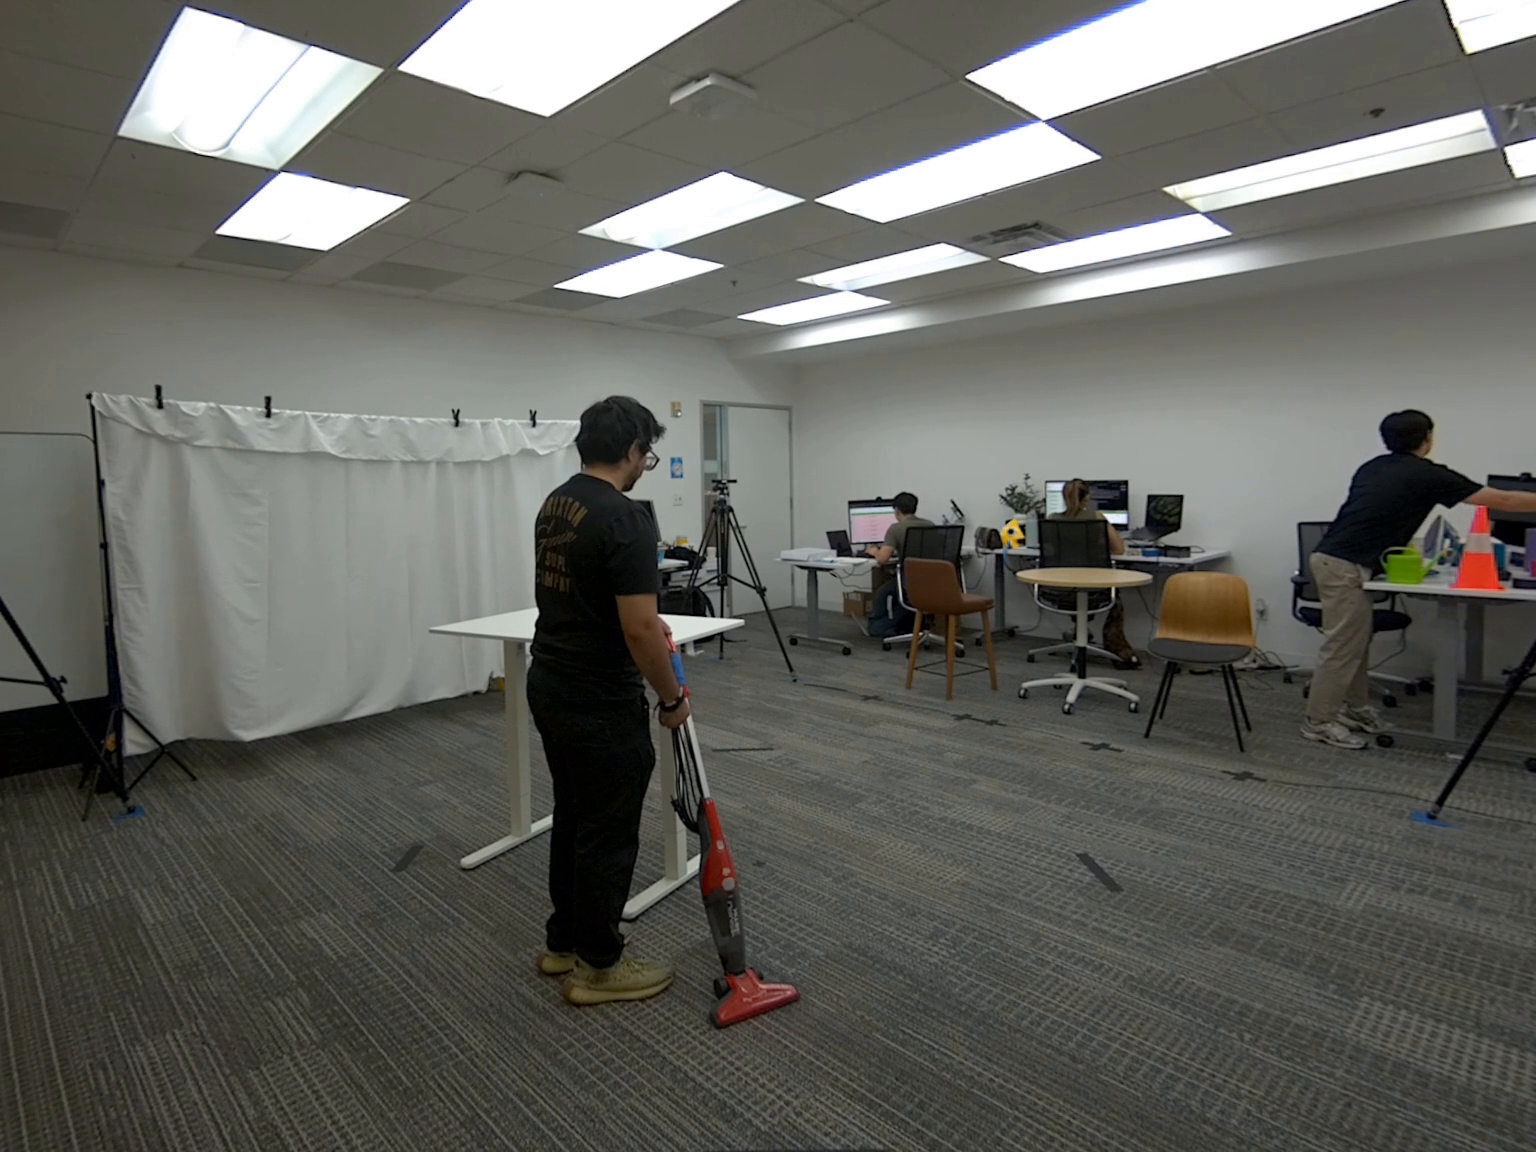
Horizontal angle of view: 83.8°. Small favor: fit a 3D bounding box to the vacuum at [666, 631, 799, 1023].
[{"bbox_3d":[-0.196,0.654,2.496,0.245,1.074,0.145,1,-28,-39],"label":"vacuum"}]
